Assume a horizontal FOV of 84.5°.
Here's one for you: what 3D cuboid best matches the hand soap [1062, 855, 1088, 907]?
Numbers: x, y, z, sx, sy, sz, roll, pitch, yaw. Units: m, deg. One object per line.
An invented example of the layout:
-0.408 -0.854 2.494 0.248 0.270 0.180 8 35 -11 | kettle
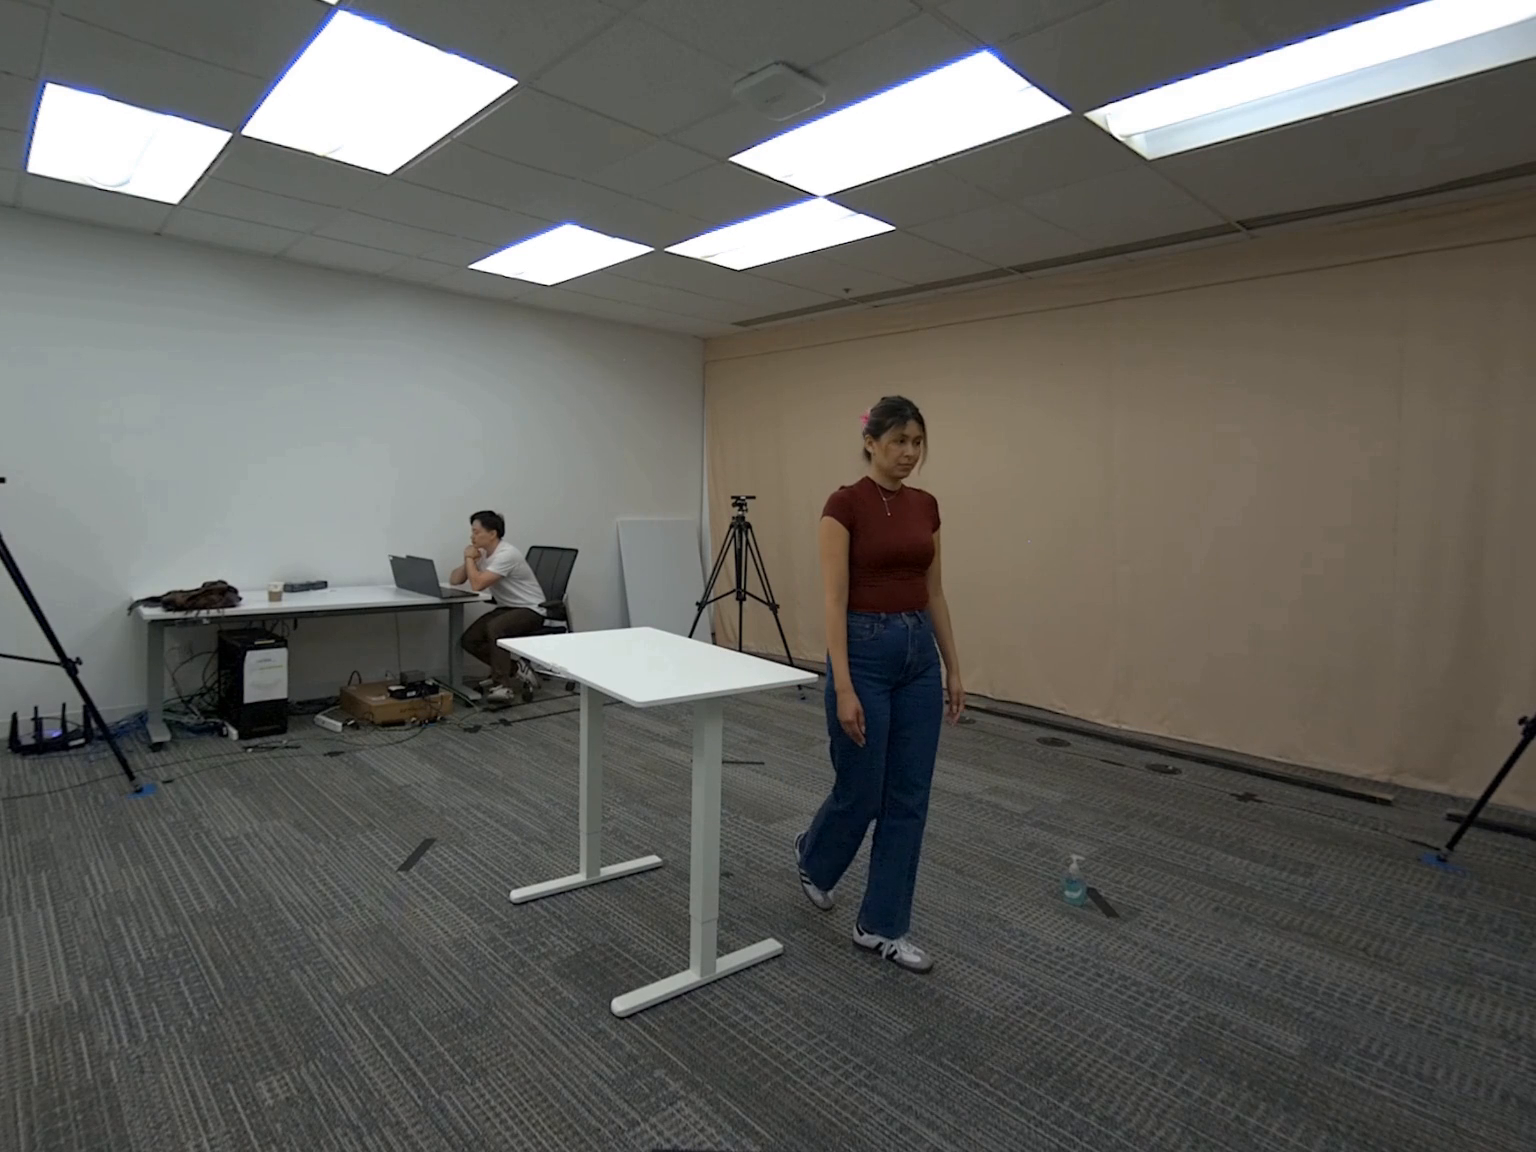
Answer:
1.071 1.069 2.954 0.086 0.168 0.042 3 1 26 | hand soap
